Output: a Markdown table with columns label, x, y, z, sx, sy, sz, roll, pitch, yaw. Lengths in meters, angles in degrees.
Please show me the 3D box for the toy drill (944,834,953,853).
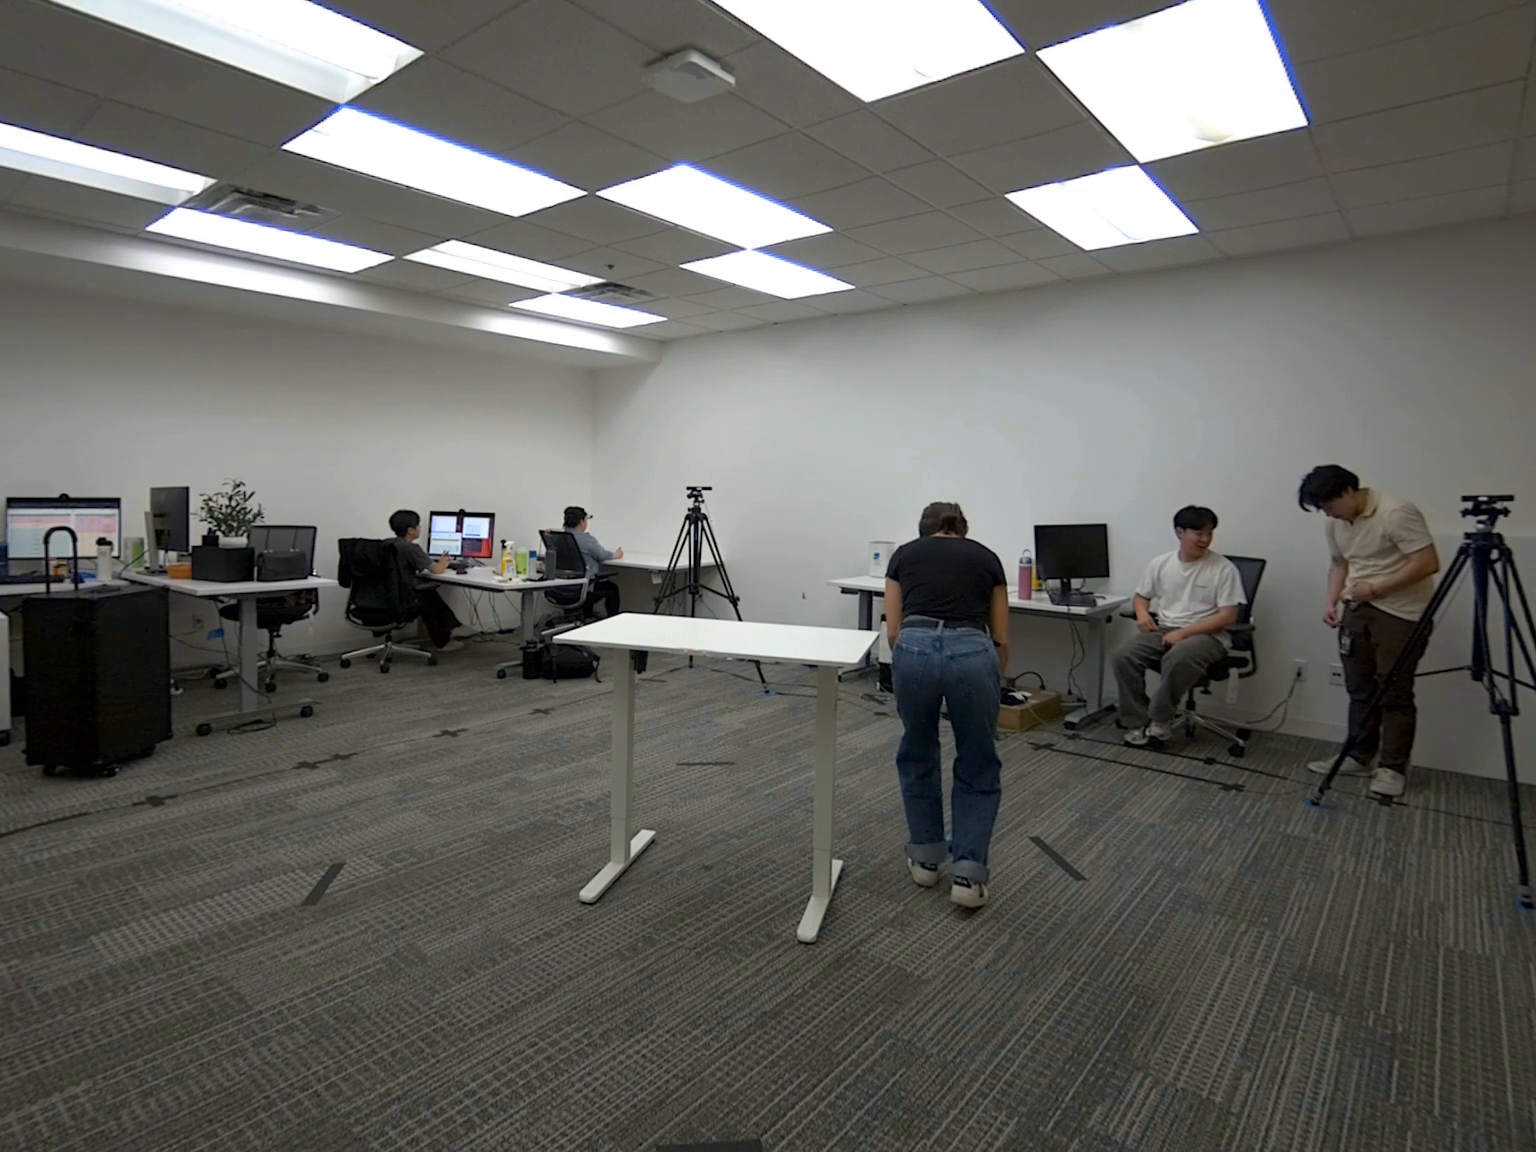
| label | x | y | z | sx | sy | sz | roll | pitch | yaw |
| --- | --- | --- | --- | --- | --- | --- | --- | --- | --- |
| toy drill | 0.762 | 1.030 | 3.301 | 0.165 | 0.061 | 0.151 | -6 | 8 | -38 |
